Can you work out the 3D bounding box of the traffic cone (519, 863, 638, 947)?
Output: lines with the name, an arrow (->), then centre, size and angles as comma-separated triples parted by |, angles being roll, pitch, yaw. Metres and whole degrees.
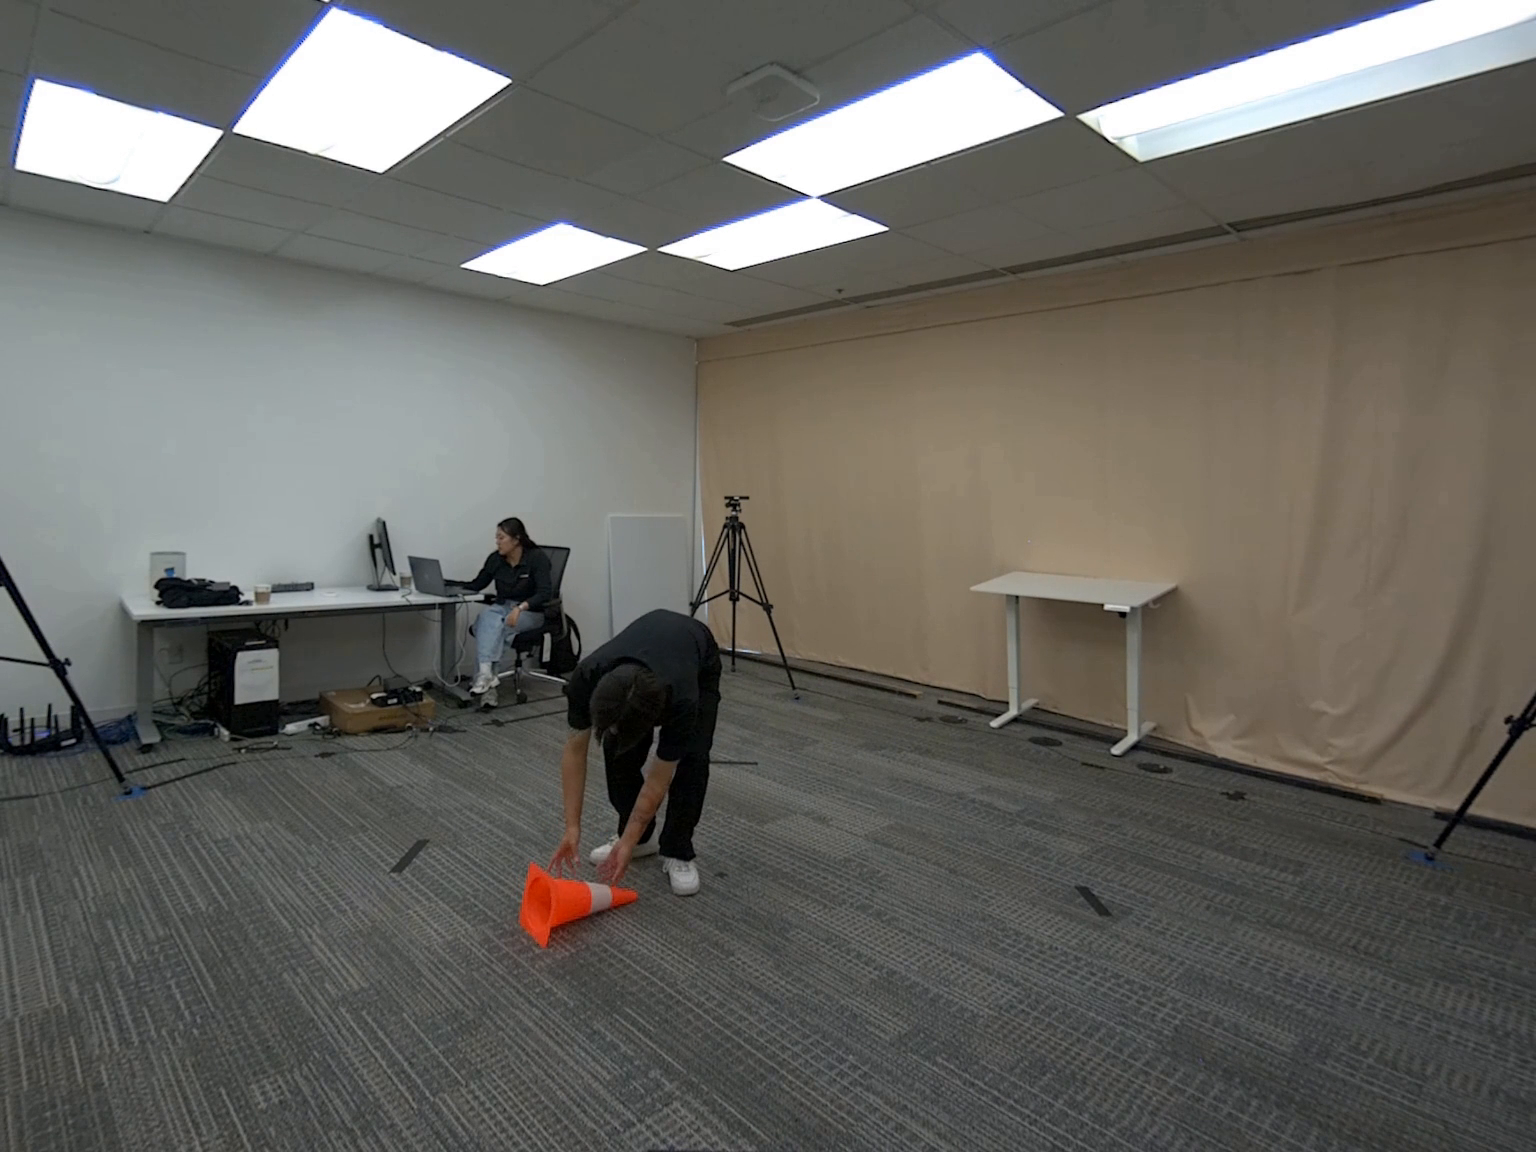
traffic cone -> -0.600, 1.067, 2.776 | 0.373, 0.203, 0.210 | 13, -1, -40
